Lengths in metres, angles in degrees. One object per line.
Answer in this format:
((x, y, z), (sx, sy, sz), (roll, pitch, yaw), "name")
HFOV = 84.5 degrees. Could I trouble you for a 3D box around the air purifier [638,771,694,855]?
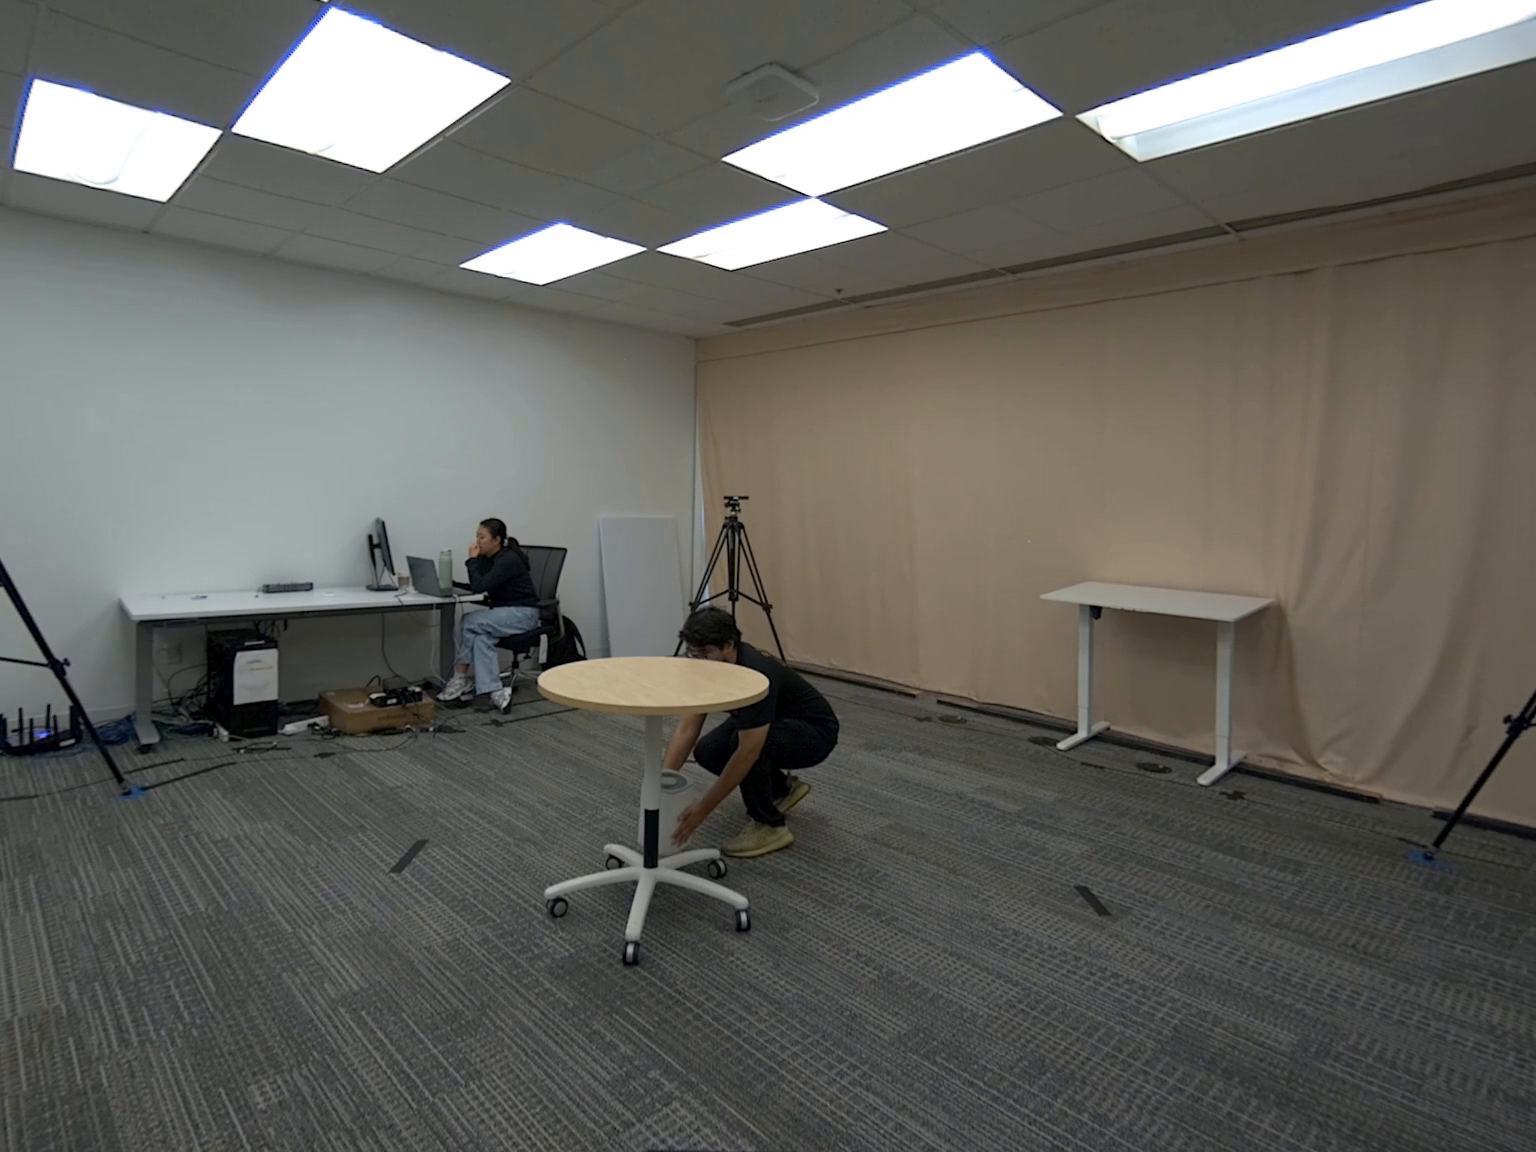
((-0.389, 0.891, 3.134), (0.175, 0.263, 0.169), (12, 12, 28), "air purifier")
